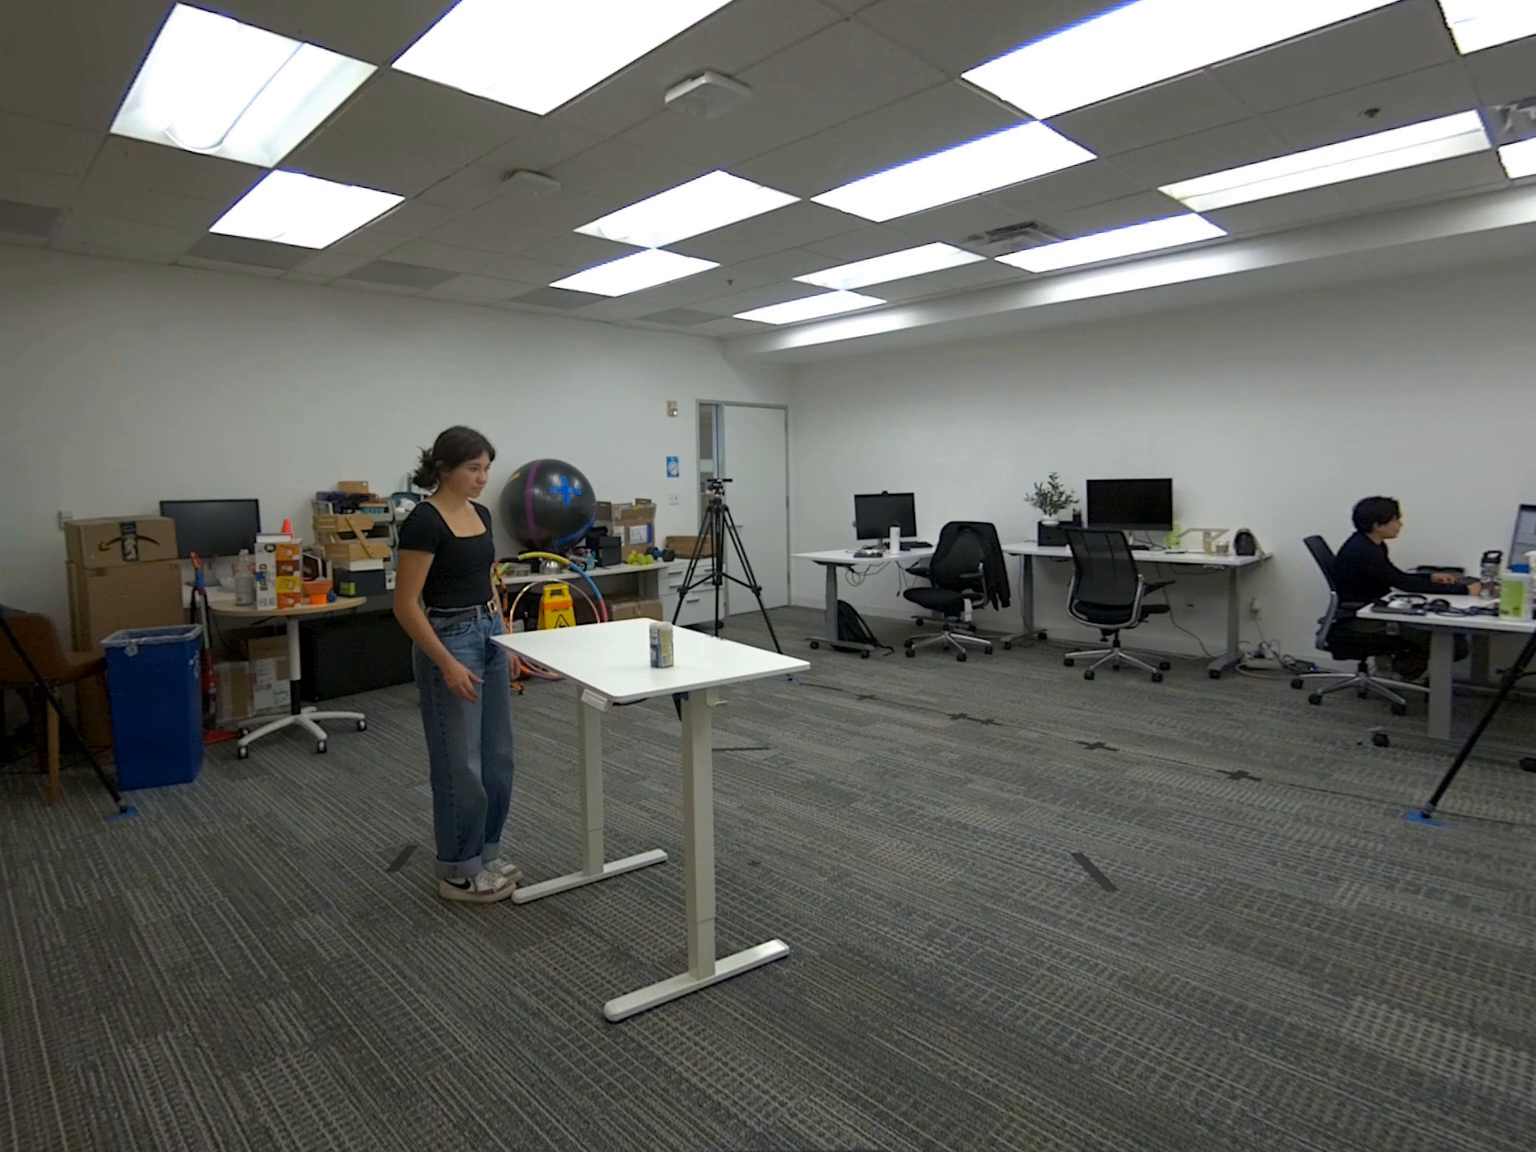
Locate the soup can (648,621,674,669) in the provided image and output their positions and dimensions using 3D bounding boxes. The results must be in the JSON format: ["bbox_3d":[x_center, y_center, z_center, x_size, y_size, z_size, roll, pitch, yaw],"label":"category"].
[{"bbox_3d":[-0.285,0.193,2.373,0.067,0.121,0.067,-1,1,-2],"label":"soup can"}]
